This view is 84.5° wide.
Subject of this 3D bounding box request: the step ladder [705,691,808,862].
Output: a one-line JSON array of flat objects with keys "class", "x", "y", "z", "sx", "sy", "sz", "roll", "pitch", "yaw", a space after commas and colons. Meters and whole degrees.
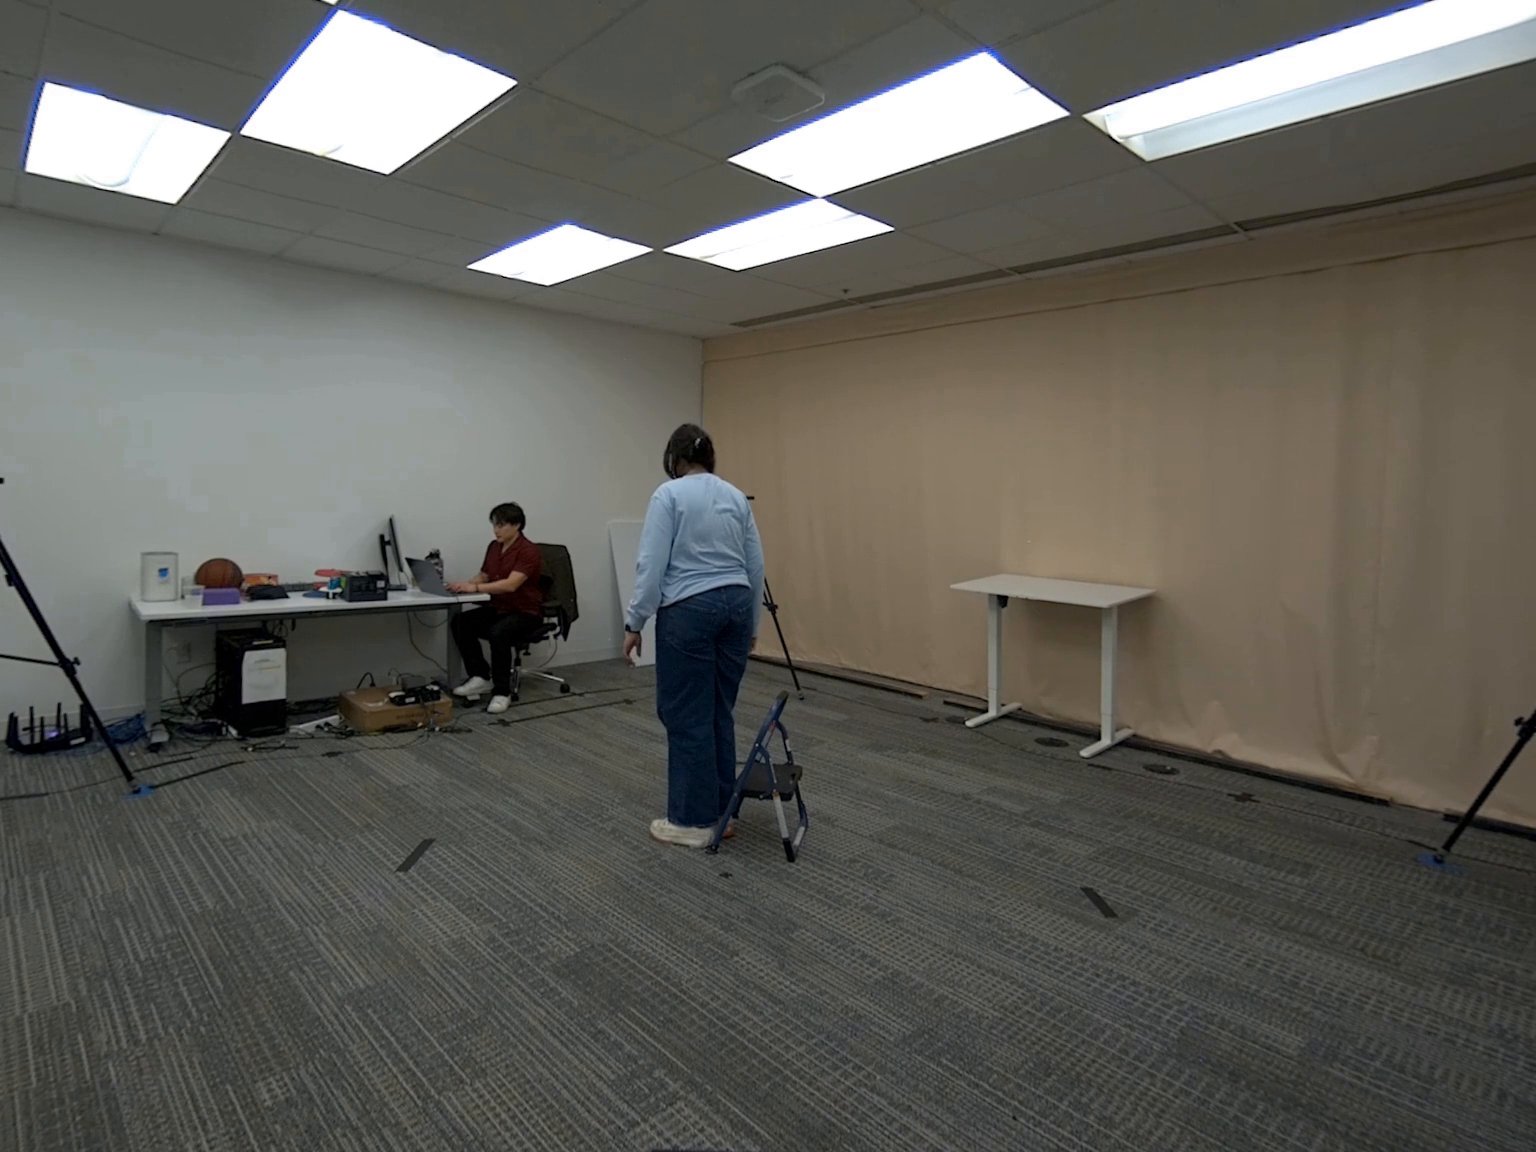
[{"class": "step ladder", "x": -0.032, "y": 0.776, "z": 3.444, "sx": 0.353, "sy": 0.605, "sz": 0.427, "roll": 1, "pitch": 3, "yaw": 11}]
